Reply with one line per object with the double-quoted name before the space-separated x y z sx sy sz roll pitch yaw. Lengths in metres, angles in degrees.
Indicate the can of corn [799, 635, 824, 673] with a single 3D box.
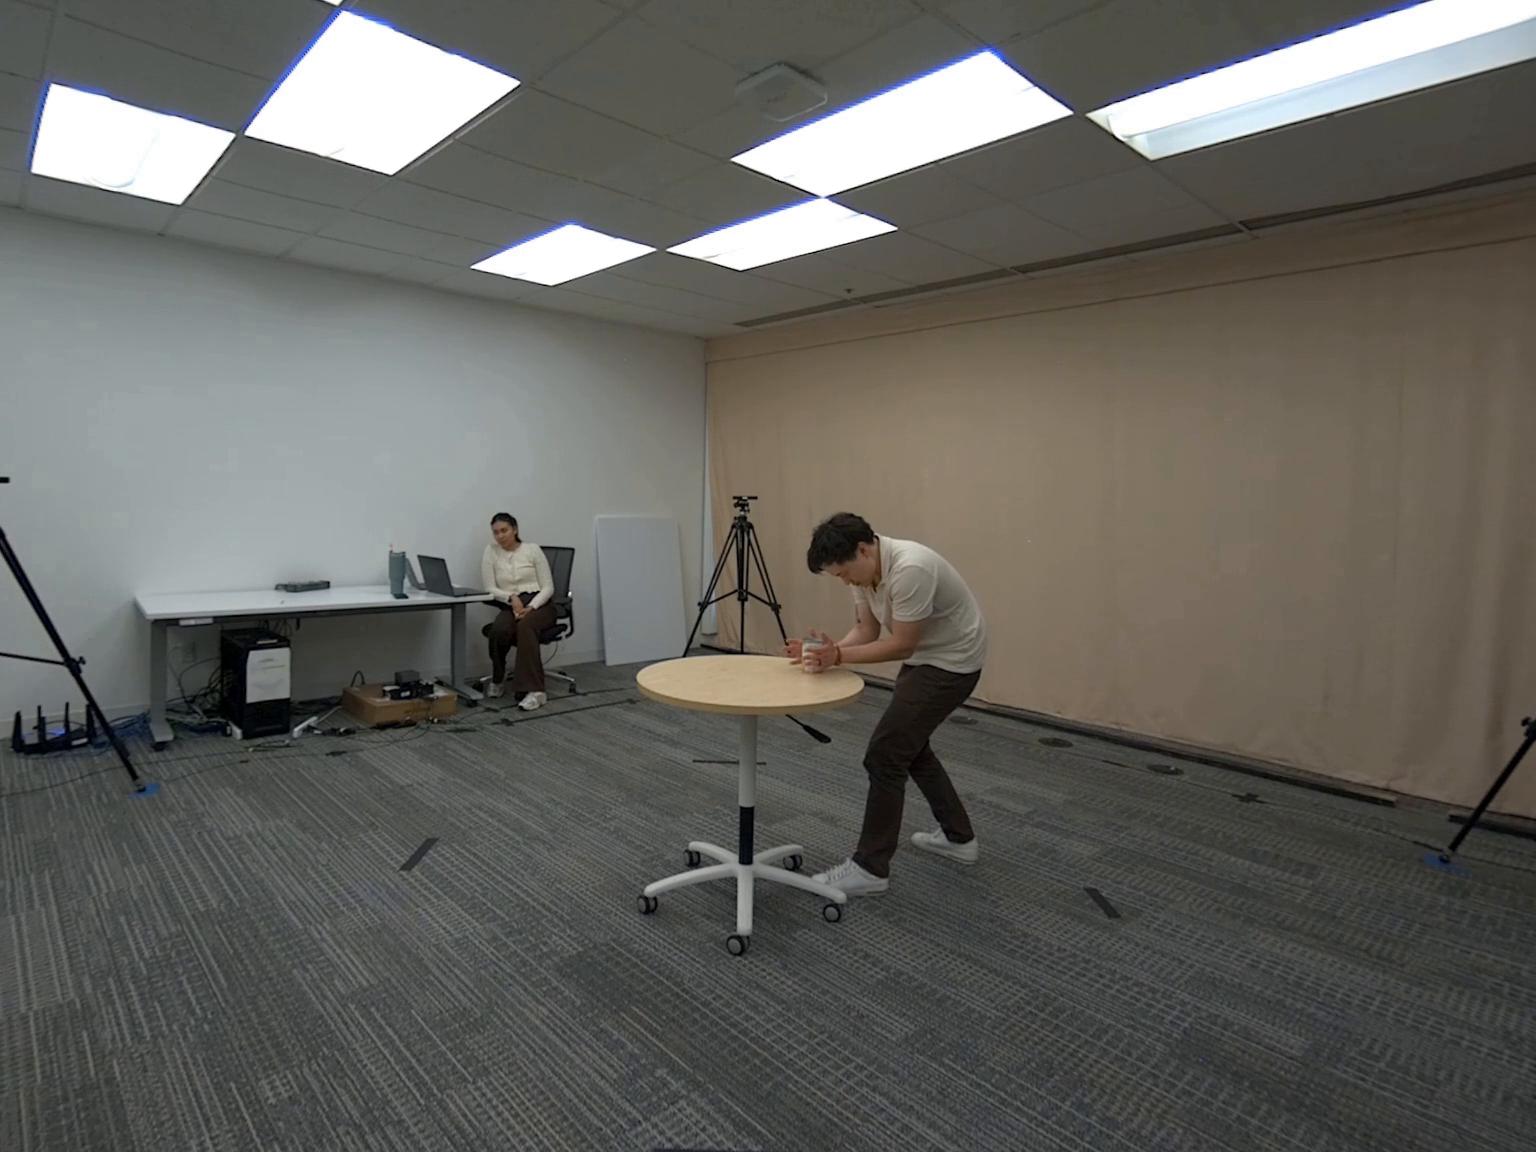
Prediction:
"can of corn" 0.147 0.284 2.960 0.074 0.111 0.074 4 -2 -1
